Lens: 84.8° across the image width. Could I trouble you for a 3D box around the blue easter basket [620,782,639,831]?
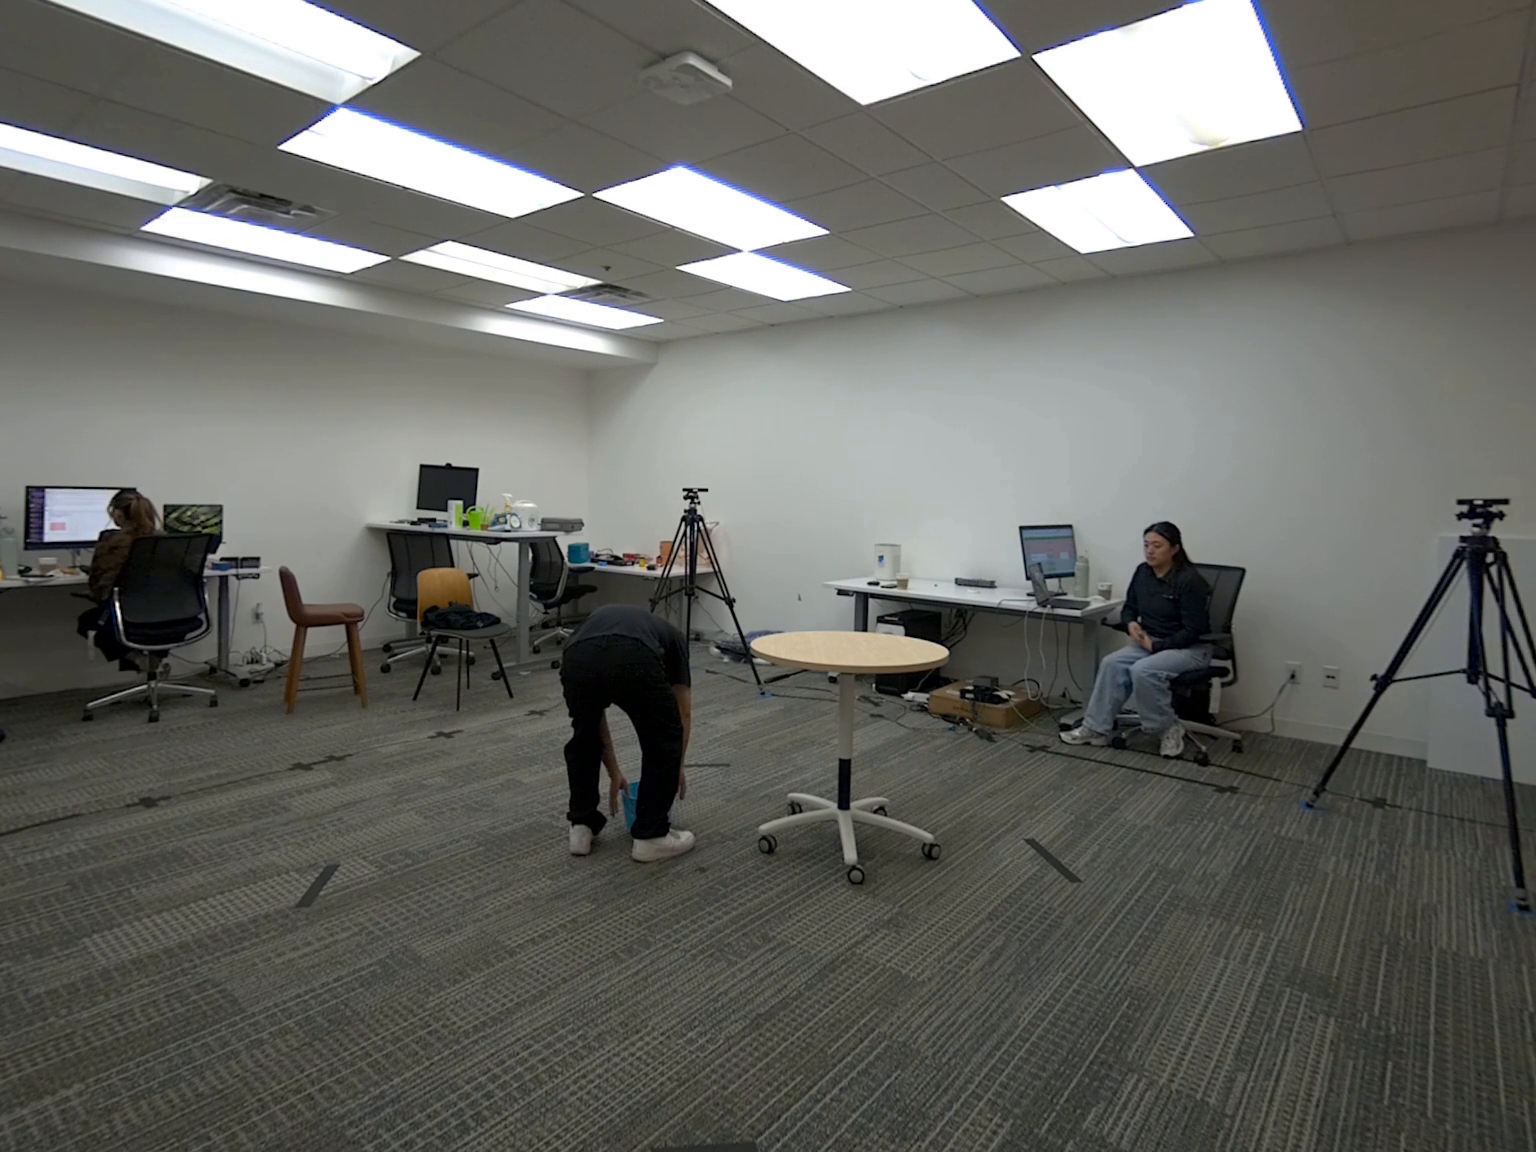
[{"bbox_3d":[-0.499,0.946,3.485,0.243,0.155,0.245,1,5,-2],"label":"blue easter basket"}]
